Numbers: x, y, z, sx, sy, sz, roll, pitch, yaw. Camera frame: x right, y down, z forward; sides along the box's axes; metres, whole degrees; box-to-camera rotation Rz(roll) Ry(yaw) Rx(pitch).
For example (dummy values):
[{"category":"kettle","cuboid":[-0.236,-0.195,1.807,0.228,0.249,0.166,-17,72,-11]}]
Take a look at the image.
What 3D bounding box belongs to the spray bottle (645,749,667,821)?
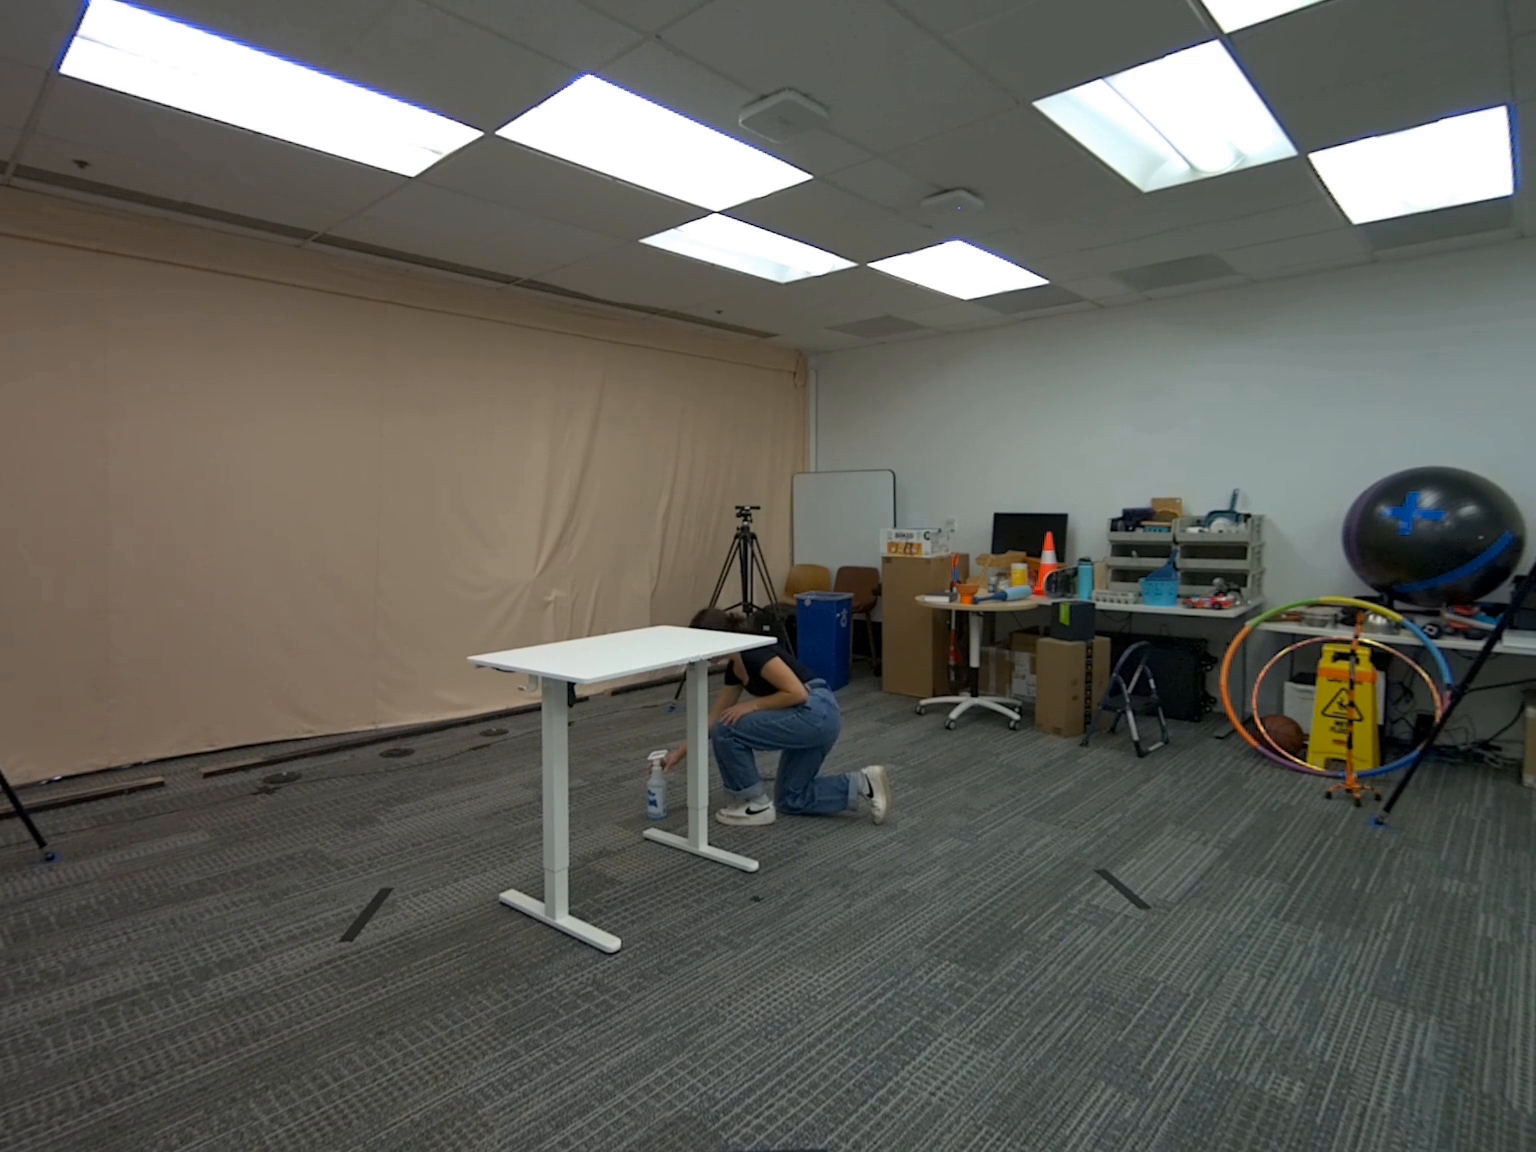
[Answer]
[{"category":"spray bottle","cuboid":[-0.498,0.940,3.786,0.090,0.297,0.087,1,3,4]}]
